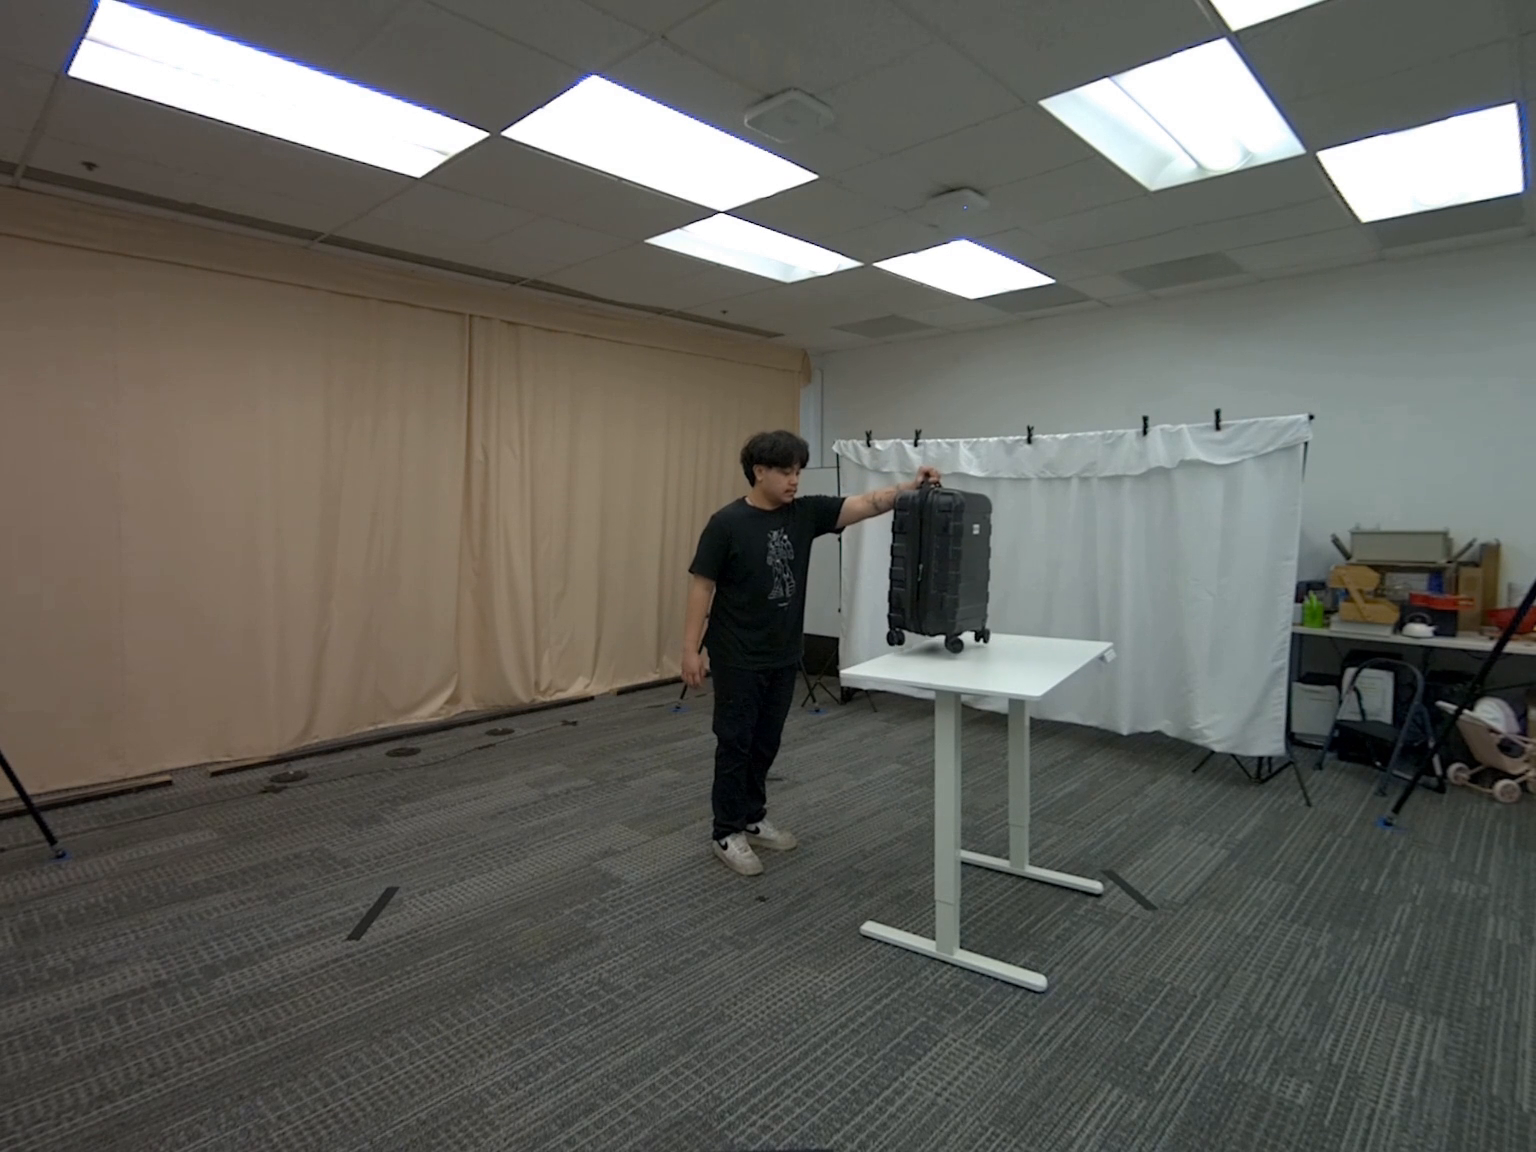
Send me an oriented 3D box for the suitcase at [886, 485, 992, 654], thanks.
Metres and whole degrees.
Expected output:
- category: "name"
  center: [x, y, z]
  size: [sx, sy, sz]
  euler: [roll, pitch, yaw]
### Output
- category: "suitcase"
  center: [0.618, -0.037, 2.947]
  size: [0.256, 0.548, 0.364]
  euler: [4, 4, 35]
